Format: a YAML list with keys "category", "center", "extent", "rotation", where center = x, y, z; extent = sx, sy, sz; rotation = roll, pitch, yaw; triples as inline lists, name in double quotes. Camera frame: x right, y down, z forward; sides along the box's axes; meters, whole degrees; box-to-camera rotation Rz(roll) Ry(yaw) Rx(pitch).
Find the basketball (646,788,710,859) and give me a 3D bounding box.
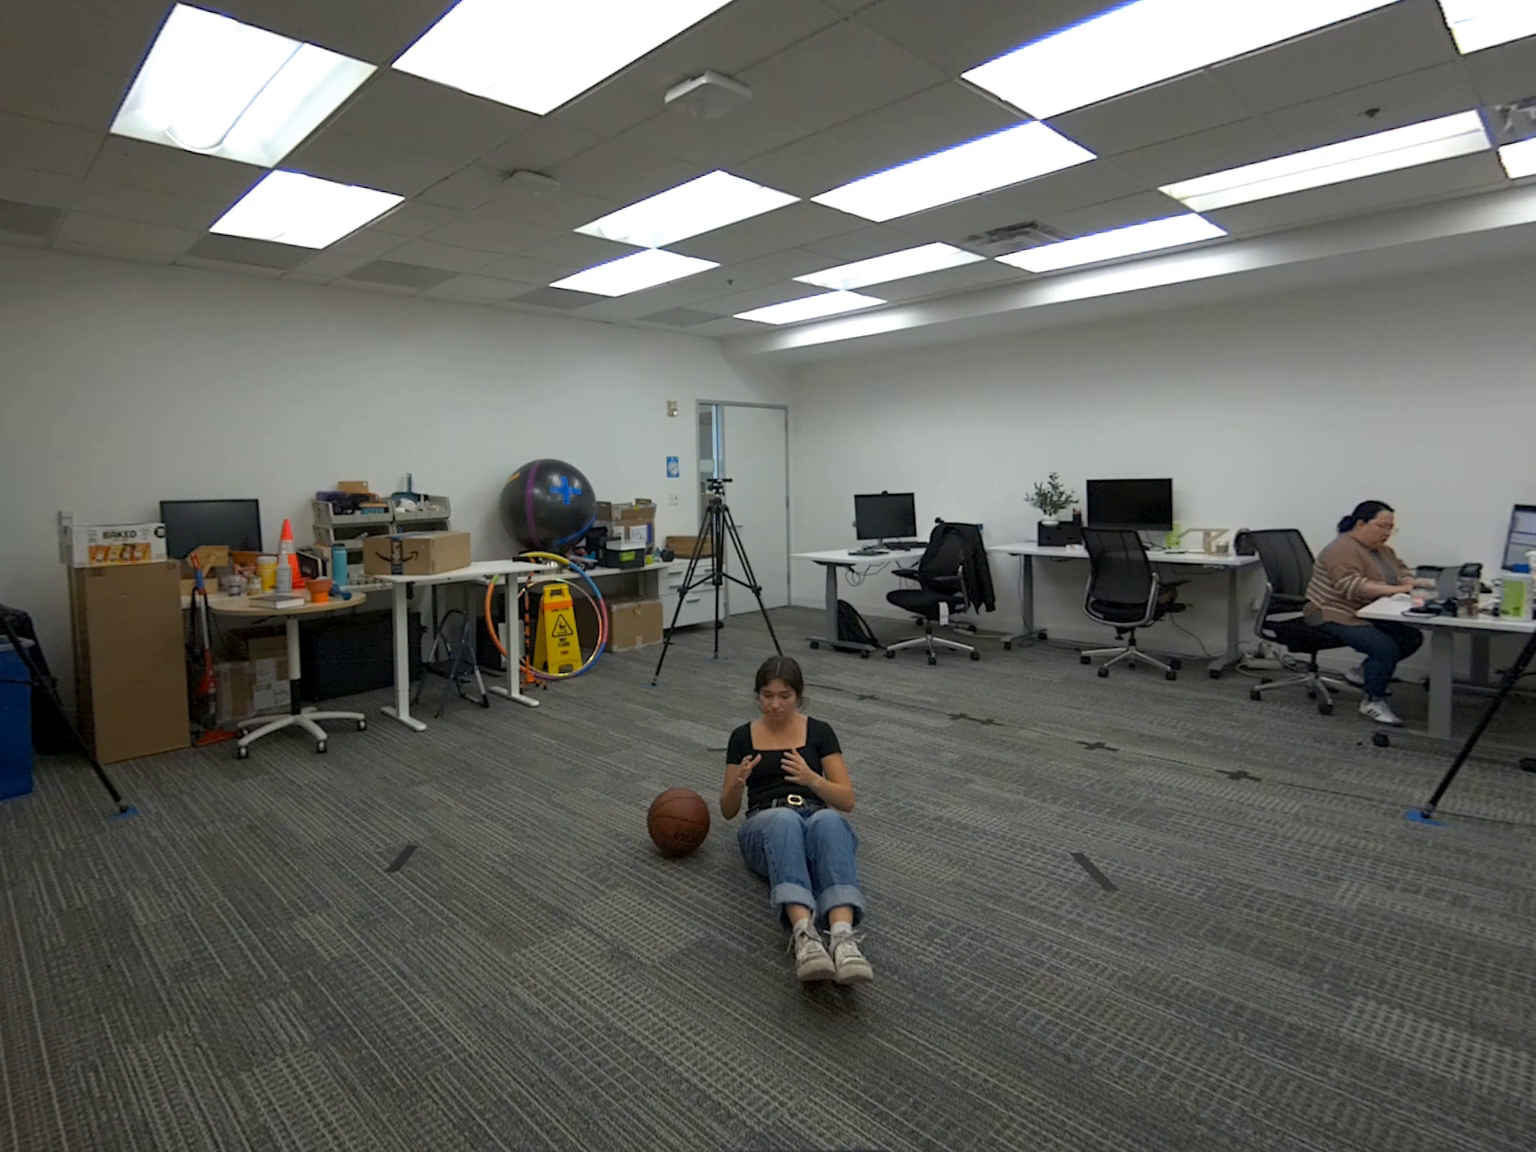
- category: "basketball"
  center: [-0.333, 0.916, 3.203]
  extent: [0.236, 0.235, 0.237]
  rotation: [-1, 5, -2]
